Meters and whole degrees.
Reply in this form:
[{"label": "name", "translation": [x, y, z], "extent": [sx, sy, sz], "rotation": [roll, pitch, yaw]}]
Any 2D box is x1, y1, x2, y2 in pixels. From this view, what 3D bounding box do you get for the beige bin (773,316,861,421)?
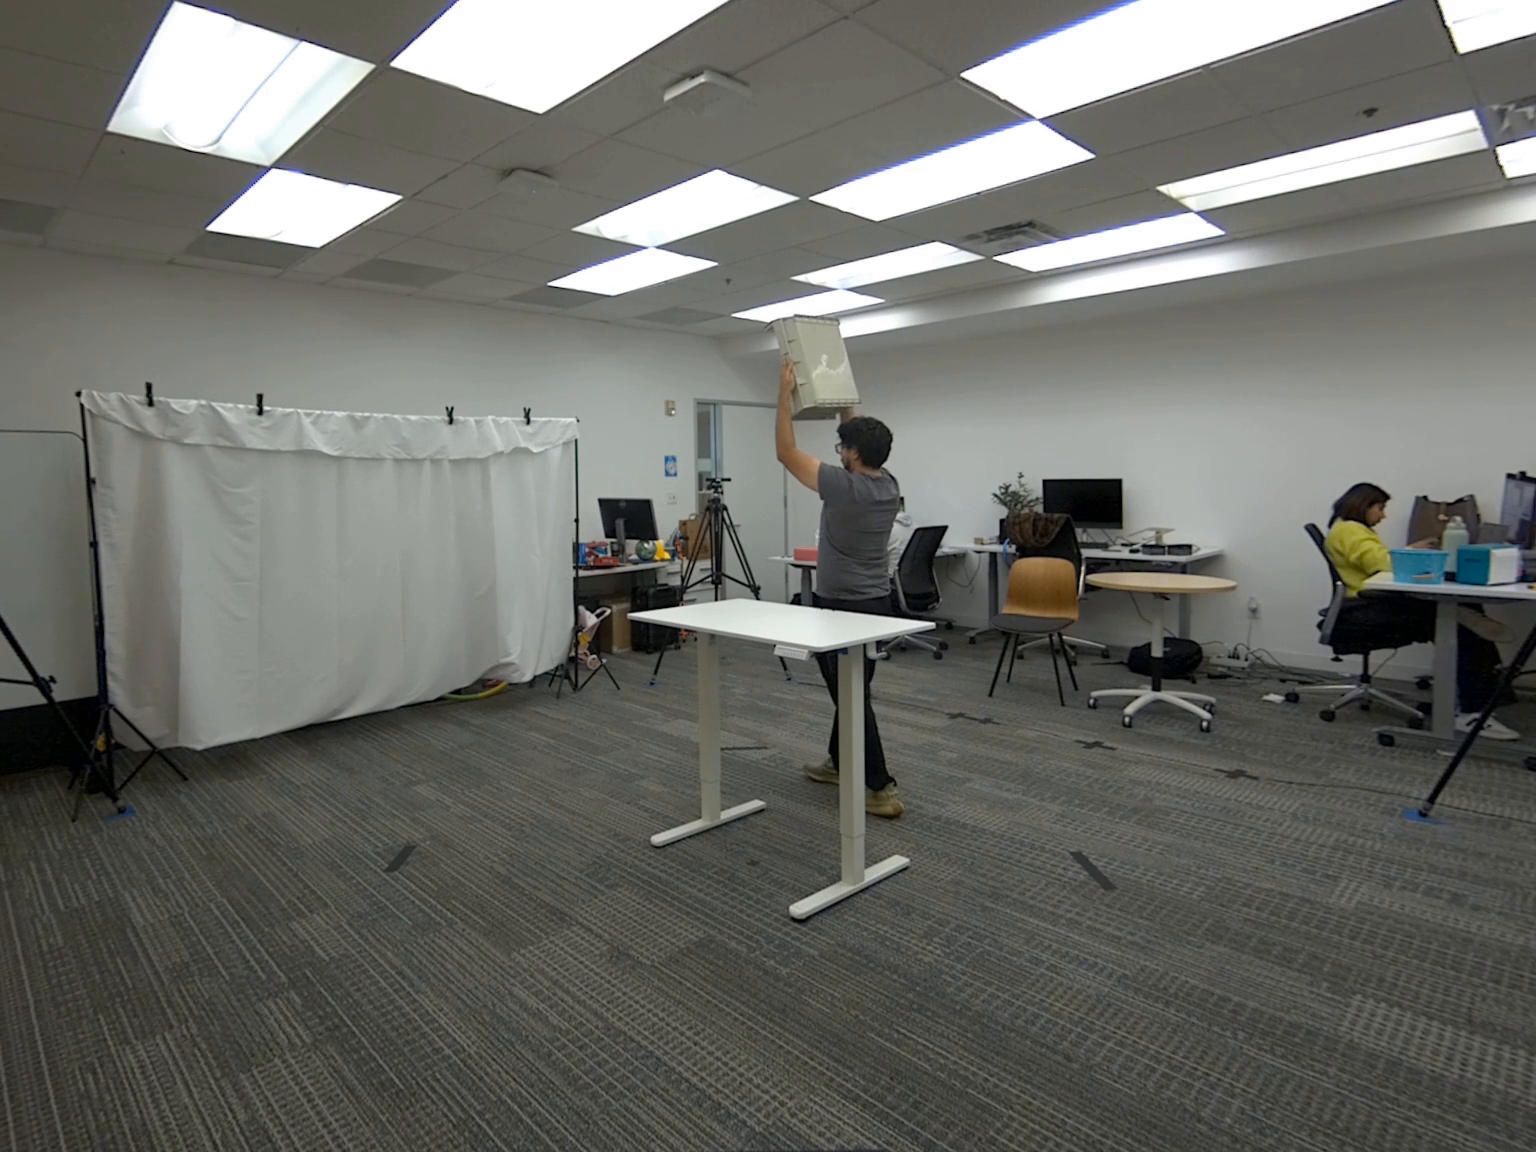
[{"label": "beige bin", "translation": [0.189, -0.916, 3.750], "extent": [0.368, 0.425, 0.192], "rotation": [-11, -6, -45]}]
